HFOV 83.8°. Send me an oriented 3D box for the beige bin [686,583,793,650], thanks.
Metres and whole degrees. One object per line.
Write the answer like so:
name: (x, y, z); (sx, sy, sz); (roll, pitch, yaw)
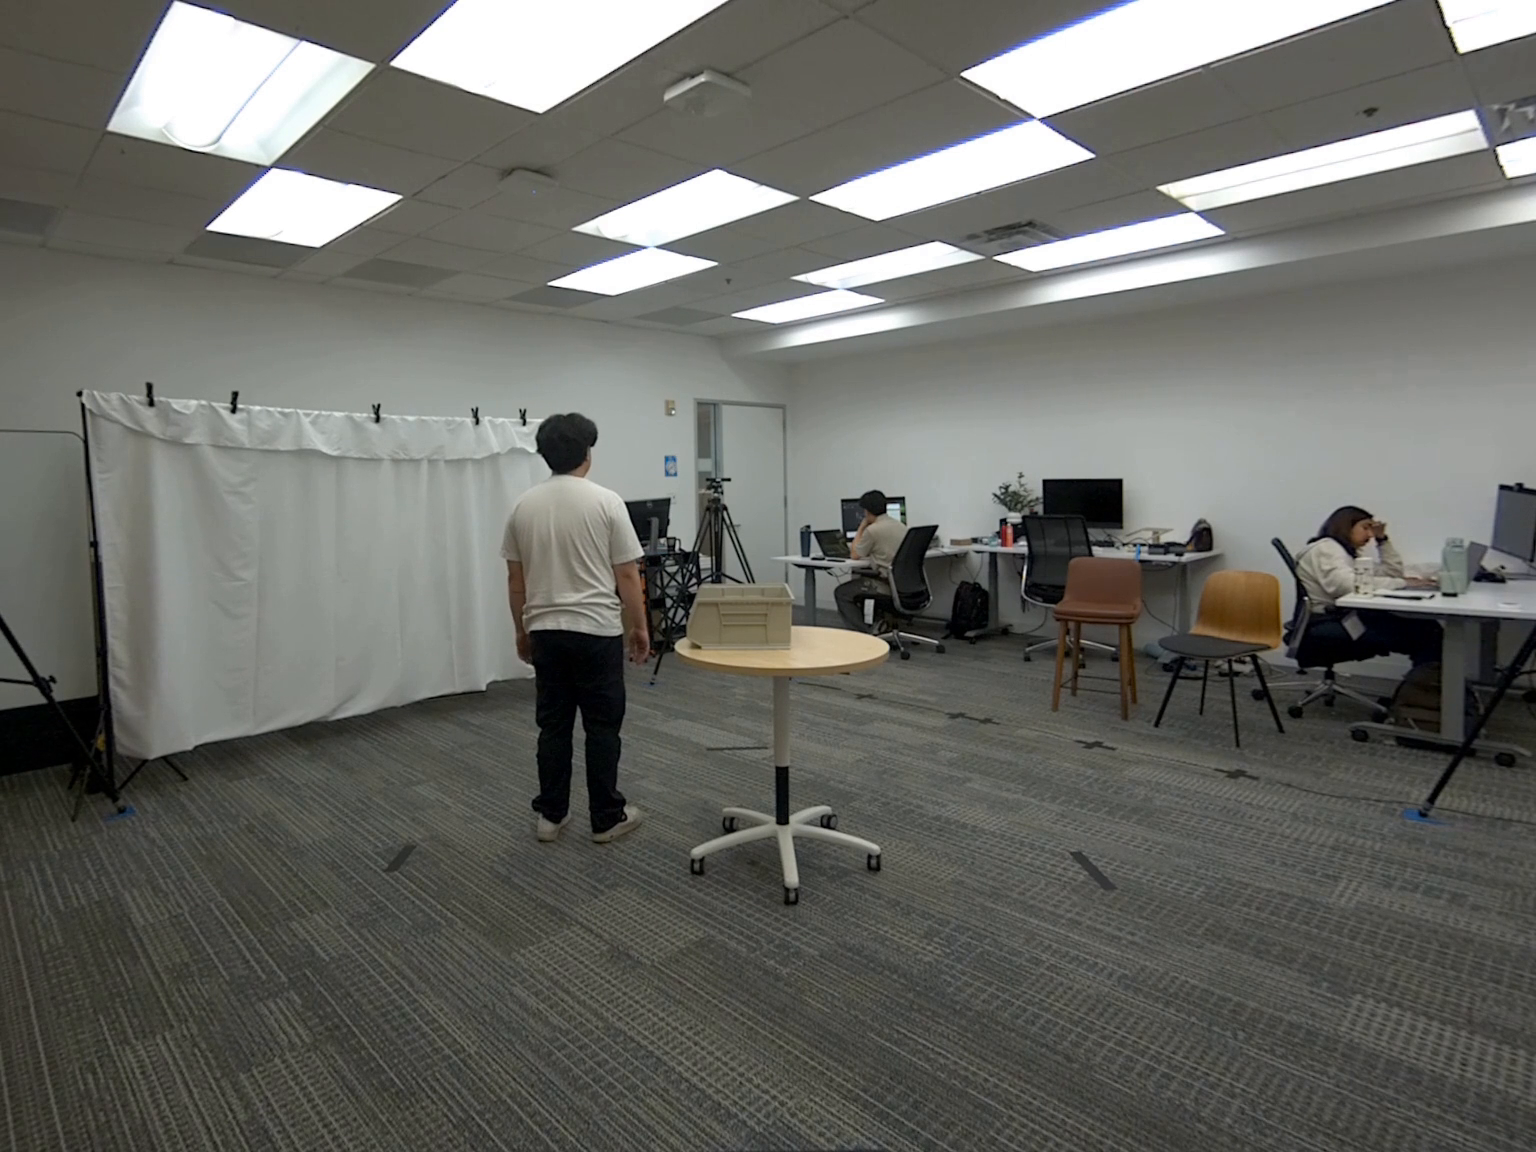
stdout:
beige bin: (-0.101, 0.145, 3.174); (0.378, 0.188, 0.423); (0, 5, 0)
